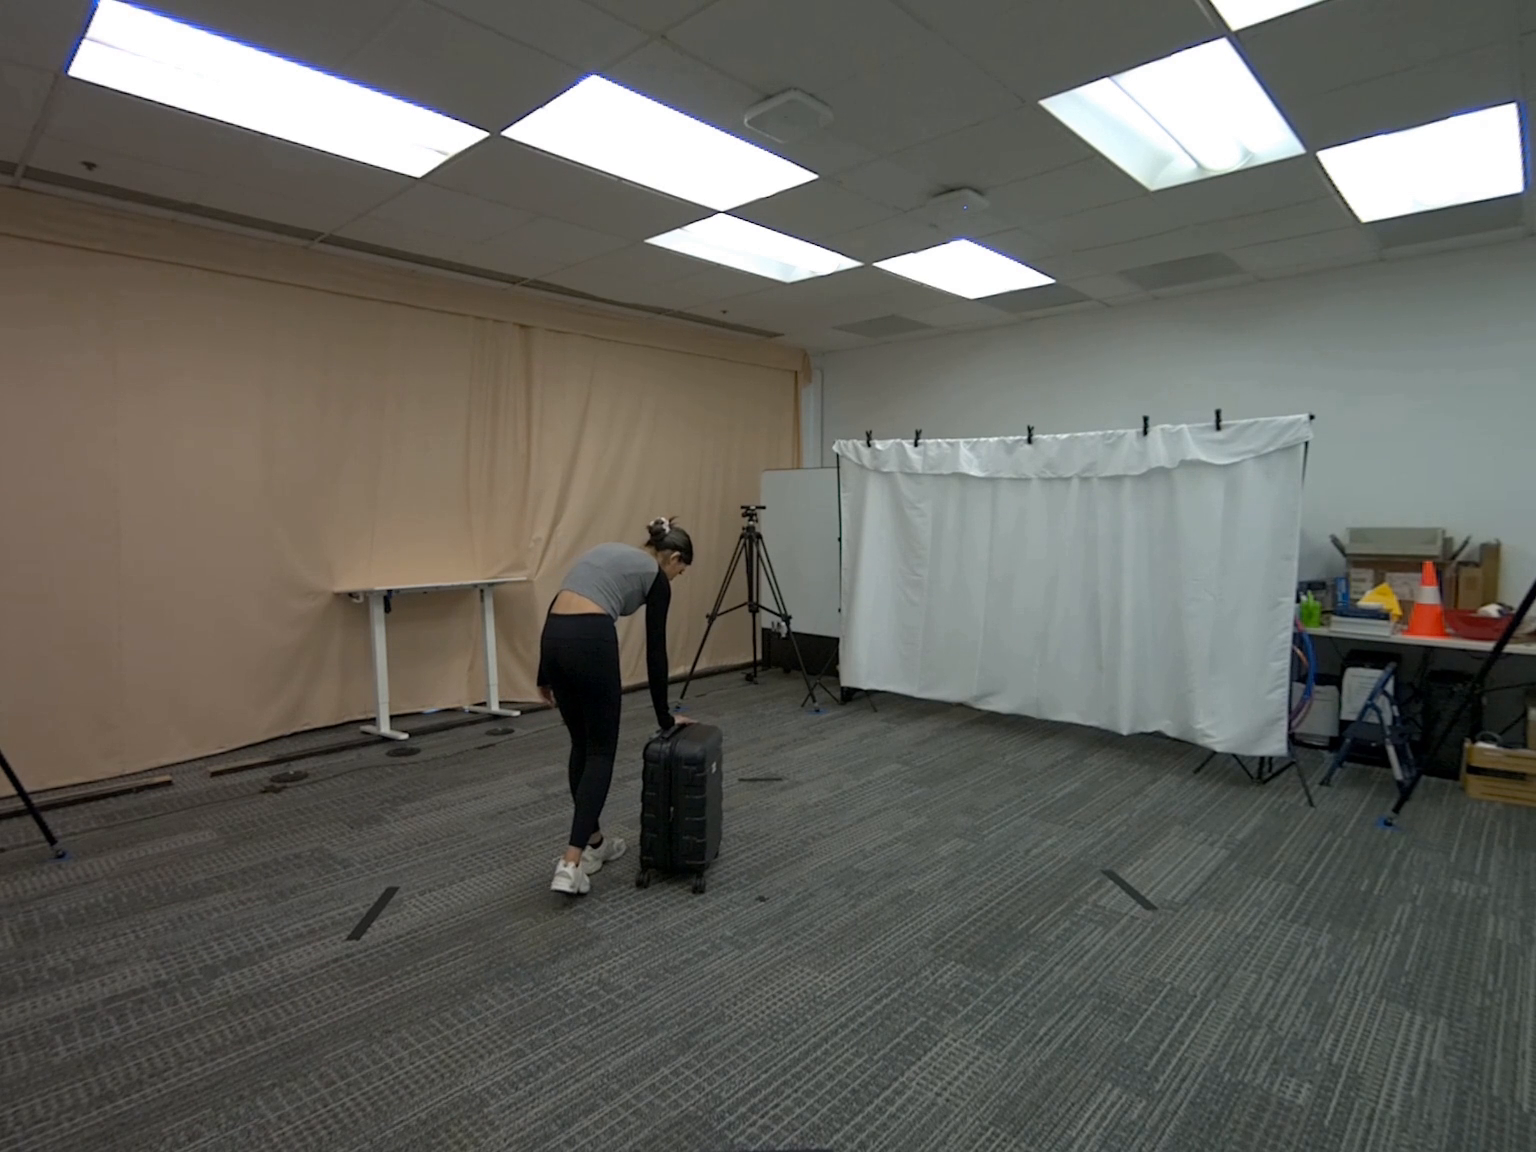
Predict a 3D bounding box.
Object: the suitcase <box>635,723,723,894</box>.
[{"bbox_3d":[-0.321,0.849,3.211,0.251,0.549,0.371,2,2,10],"label":"suitcase"}]
